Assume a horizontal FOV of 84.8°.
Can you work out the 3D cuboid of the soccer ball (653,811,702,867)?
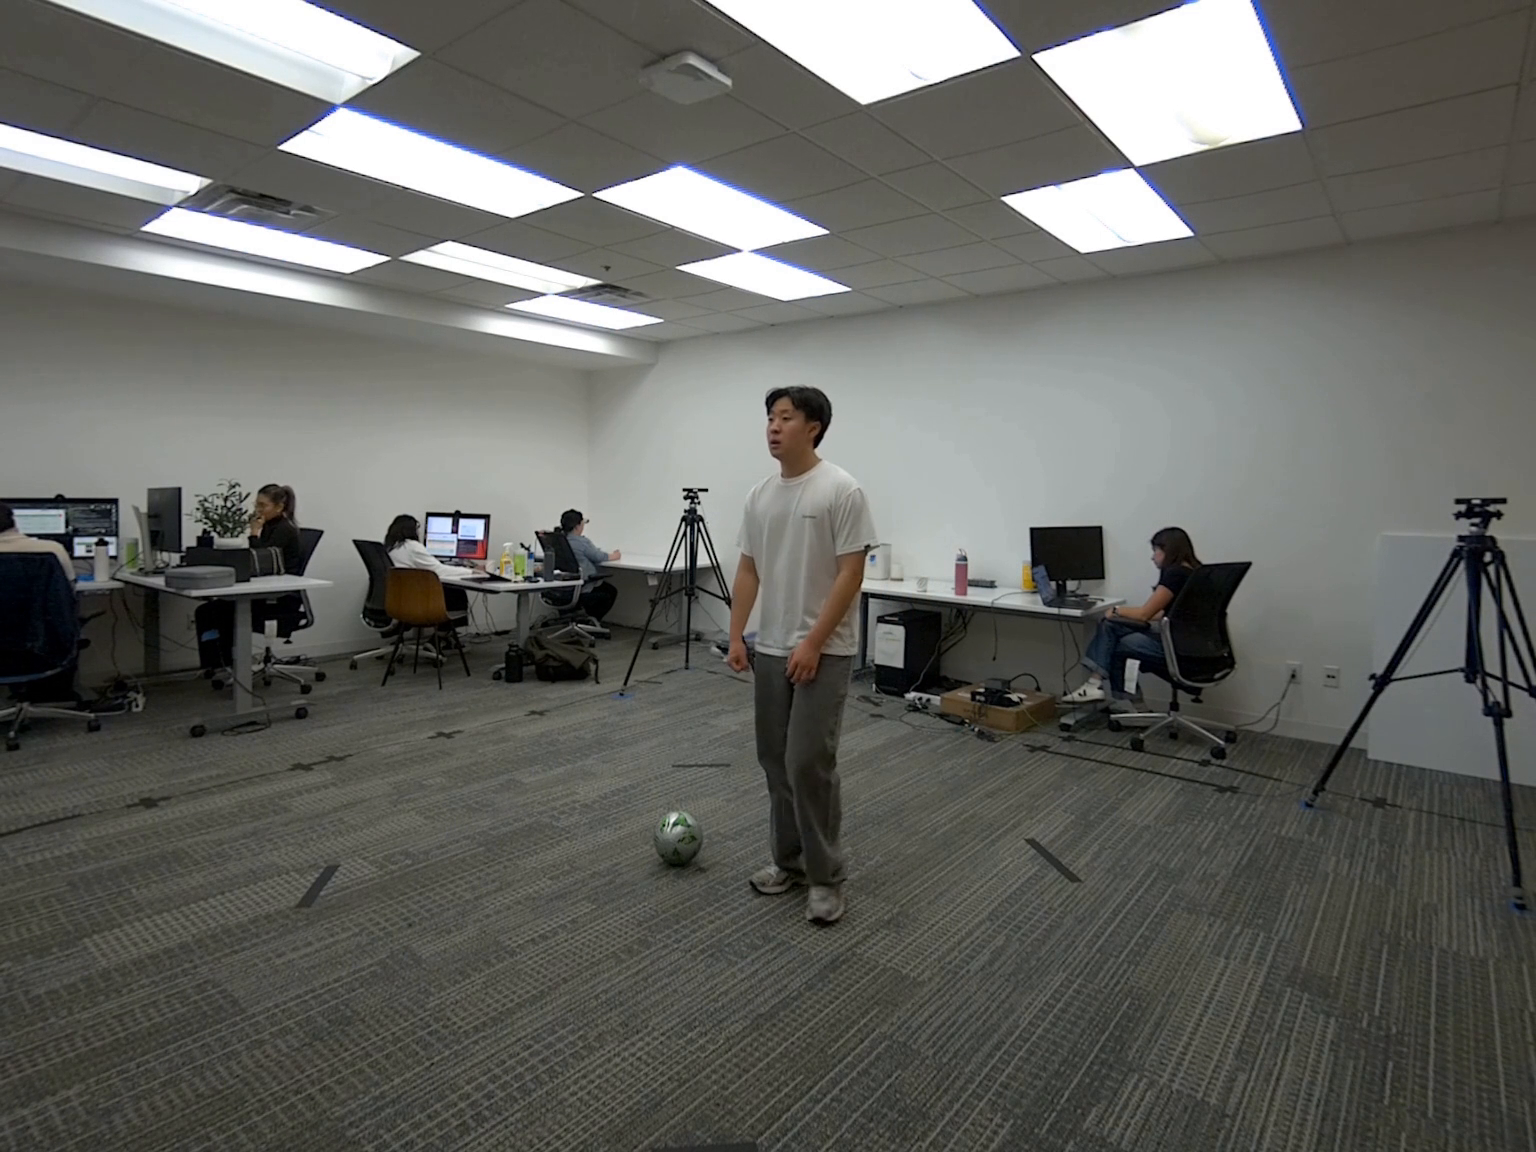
[{"bbox_3d":[-0.333,0.964,3.166,0.187,0.187,0.188,1,4,-2],"label":"soccer ball"}]
